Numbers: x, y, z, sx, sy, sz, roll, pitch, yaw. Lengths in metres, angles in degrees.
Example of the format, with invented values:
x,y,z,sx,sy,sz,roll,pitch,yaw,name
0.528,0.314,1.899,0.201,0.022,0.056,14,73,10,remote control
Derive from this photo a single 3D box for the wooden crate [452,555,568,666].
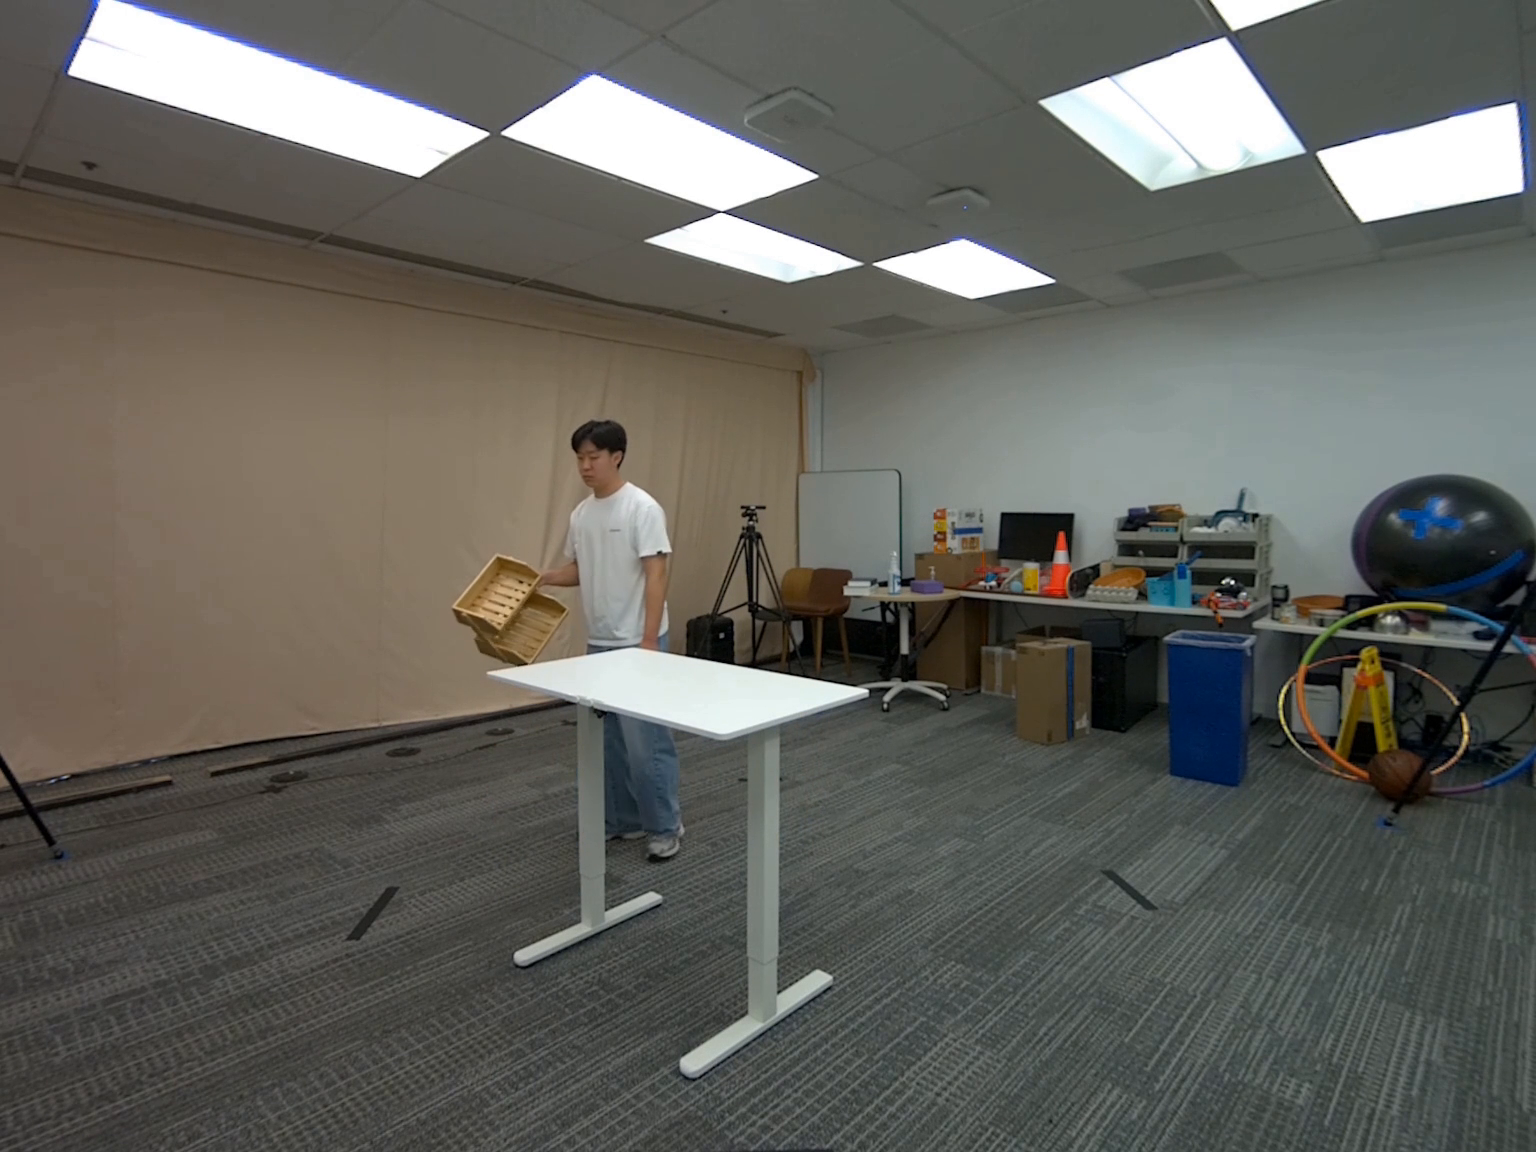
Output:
x,y,z,sx,sy,sz,roll,pitch,yaw,name
-0.998,0.140,3.328,0.309,0.267,0.324,16,50,18,wooden crate
